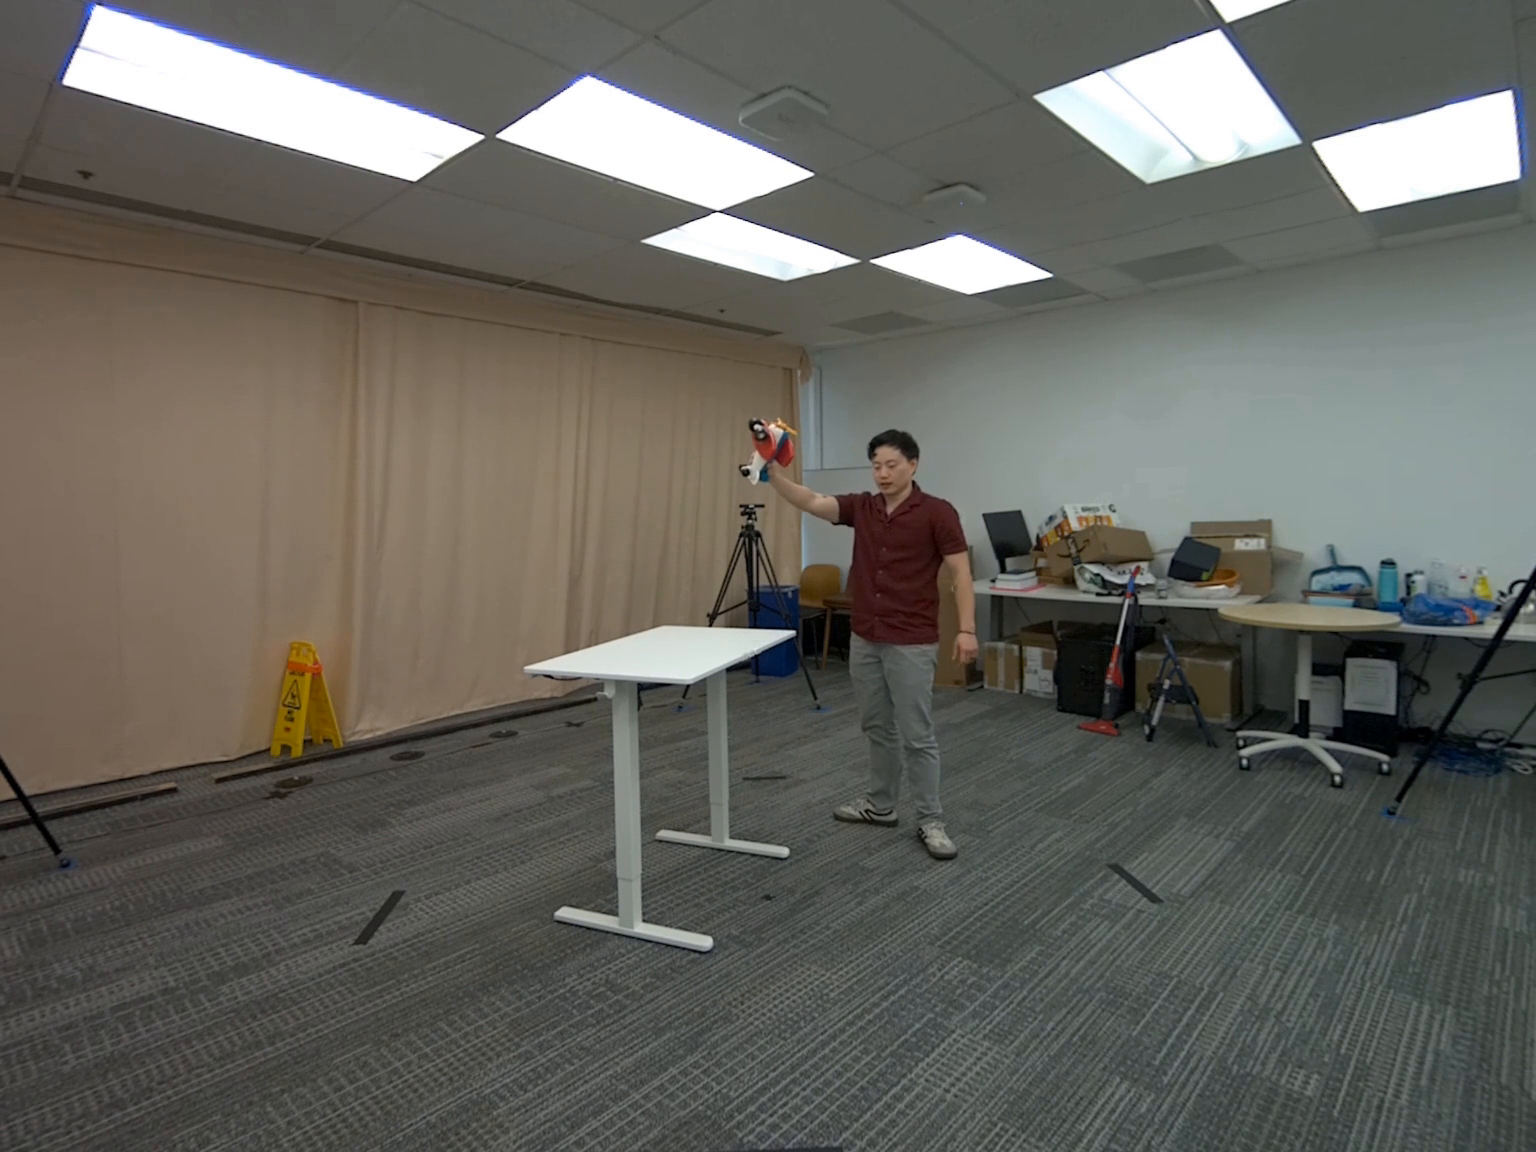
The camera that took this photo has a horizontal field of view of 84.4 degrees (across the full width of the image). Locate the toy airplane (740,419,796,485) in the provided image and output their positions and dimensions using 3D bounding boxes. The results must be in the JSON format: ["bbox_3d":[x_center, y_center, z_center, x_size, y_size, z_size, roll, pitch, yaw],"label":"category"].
[{"bbox_3d":[-0.013,-0.499,3.292,0.153,0.256,0.260,4,-30,-21],"label":"toy airplane"}]
